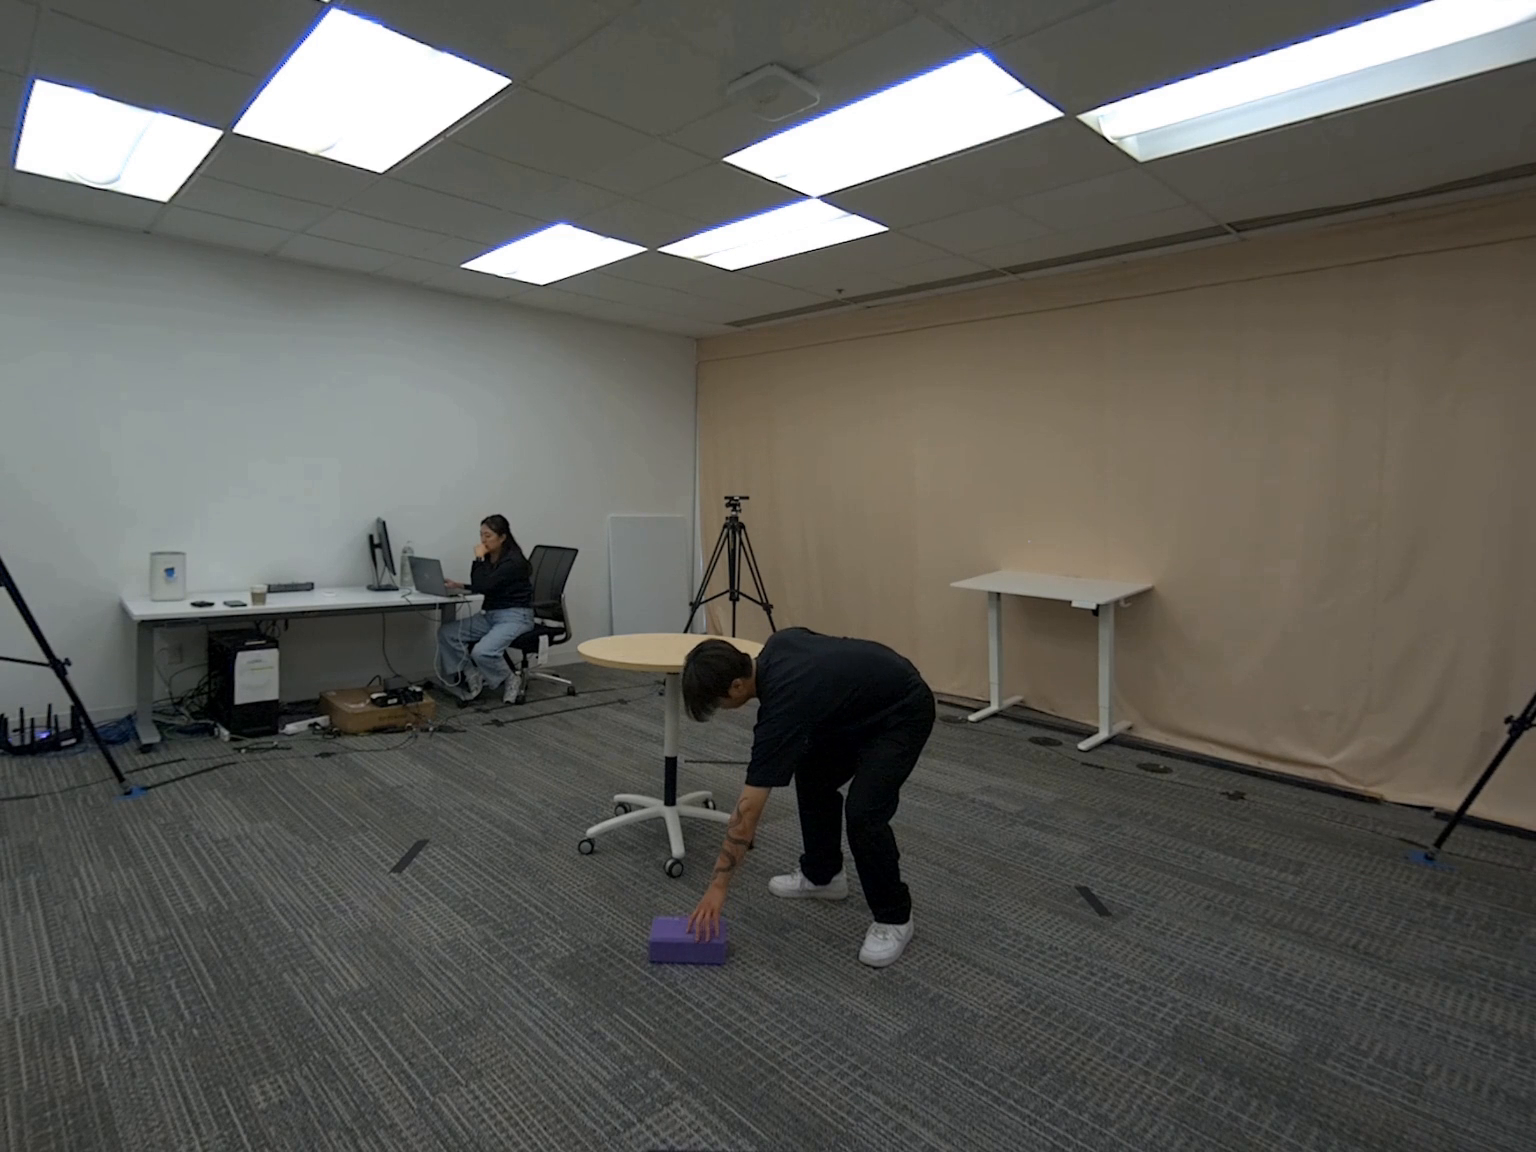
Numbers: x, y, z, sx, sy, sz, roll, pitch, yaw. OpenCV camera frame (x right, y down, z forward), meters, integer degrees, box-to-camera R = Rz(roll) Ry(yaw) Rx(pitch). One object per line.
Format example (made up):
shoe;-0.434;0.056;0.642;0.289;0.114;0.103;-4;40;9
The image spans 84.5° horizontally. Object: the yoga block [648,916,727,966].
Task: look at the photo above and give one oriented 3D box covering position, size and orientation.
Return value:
yoga block;-0.246;1.110;2.571;0.229;0.076;0.149;2;4;0
